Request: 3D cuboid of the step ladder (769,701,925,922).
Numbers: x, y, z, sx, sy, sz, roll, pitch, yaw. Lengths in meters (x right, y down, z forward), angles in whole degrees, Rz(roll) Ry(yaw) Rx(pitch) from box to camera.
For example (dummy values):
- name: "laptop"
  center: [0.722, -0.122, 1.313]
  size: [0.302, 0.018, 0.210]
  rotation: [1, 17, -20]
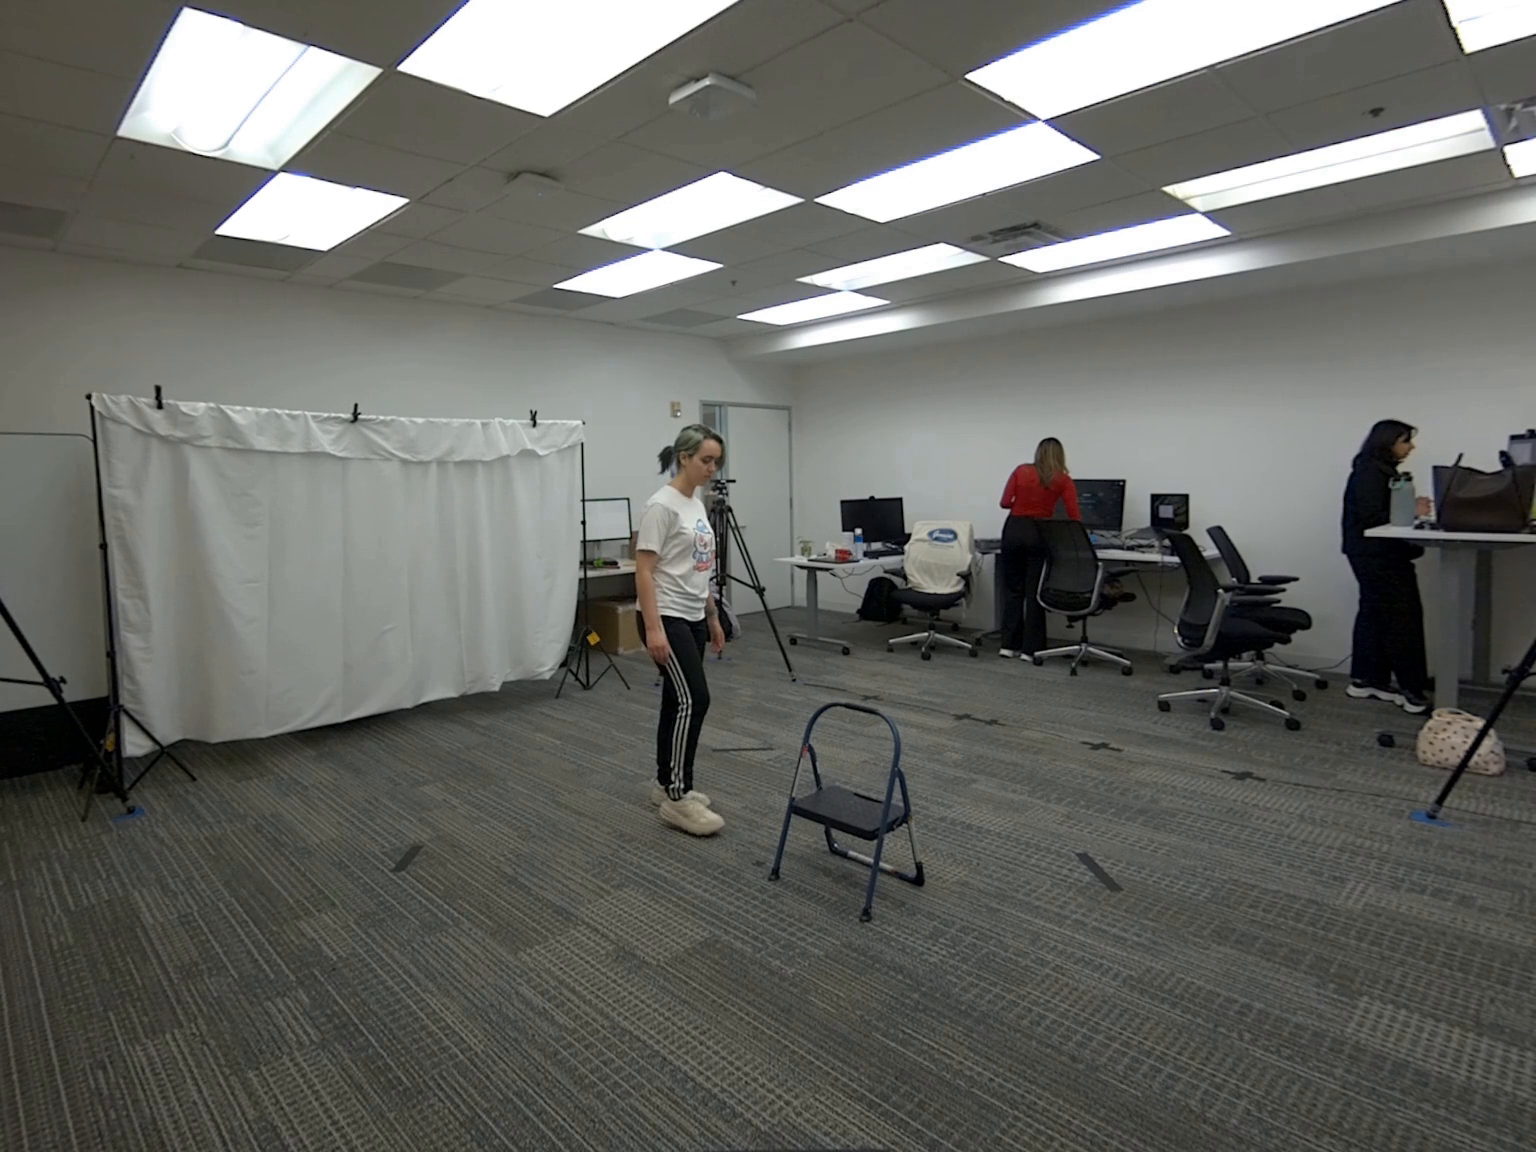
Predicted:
- name: "step ladder"
  center: [0.267, 0.757, 2.936]
  size: [0.444, 0.603, 0.340]
  rotation: [4, 7, 45]
